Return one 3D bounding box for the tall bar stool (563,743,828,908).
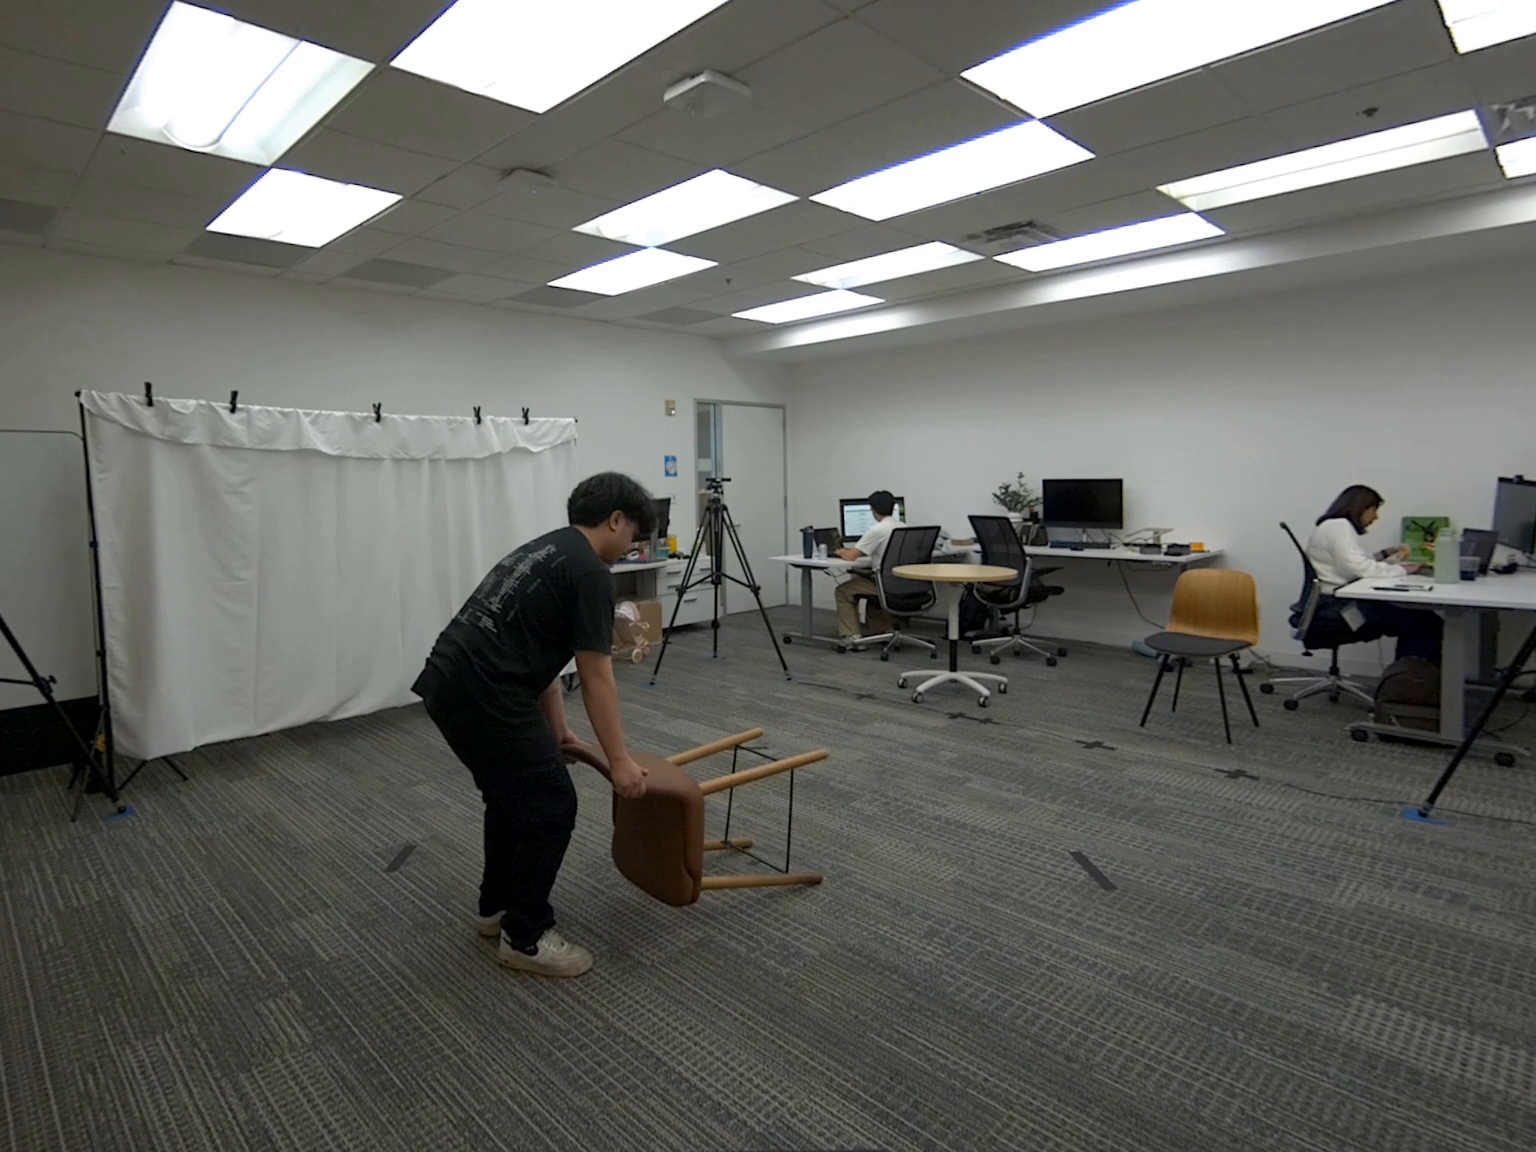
[{"bbox_3d":[-0.252,0.792,2.844,0.862,0.468,0.470,5,0,-40],"label":"tall bar stool"}]
